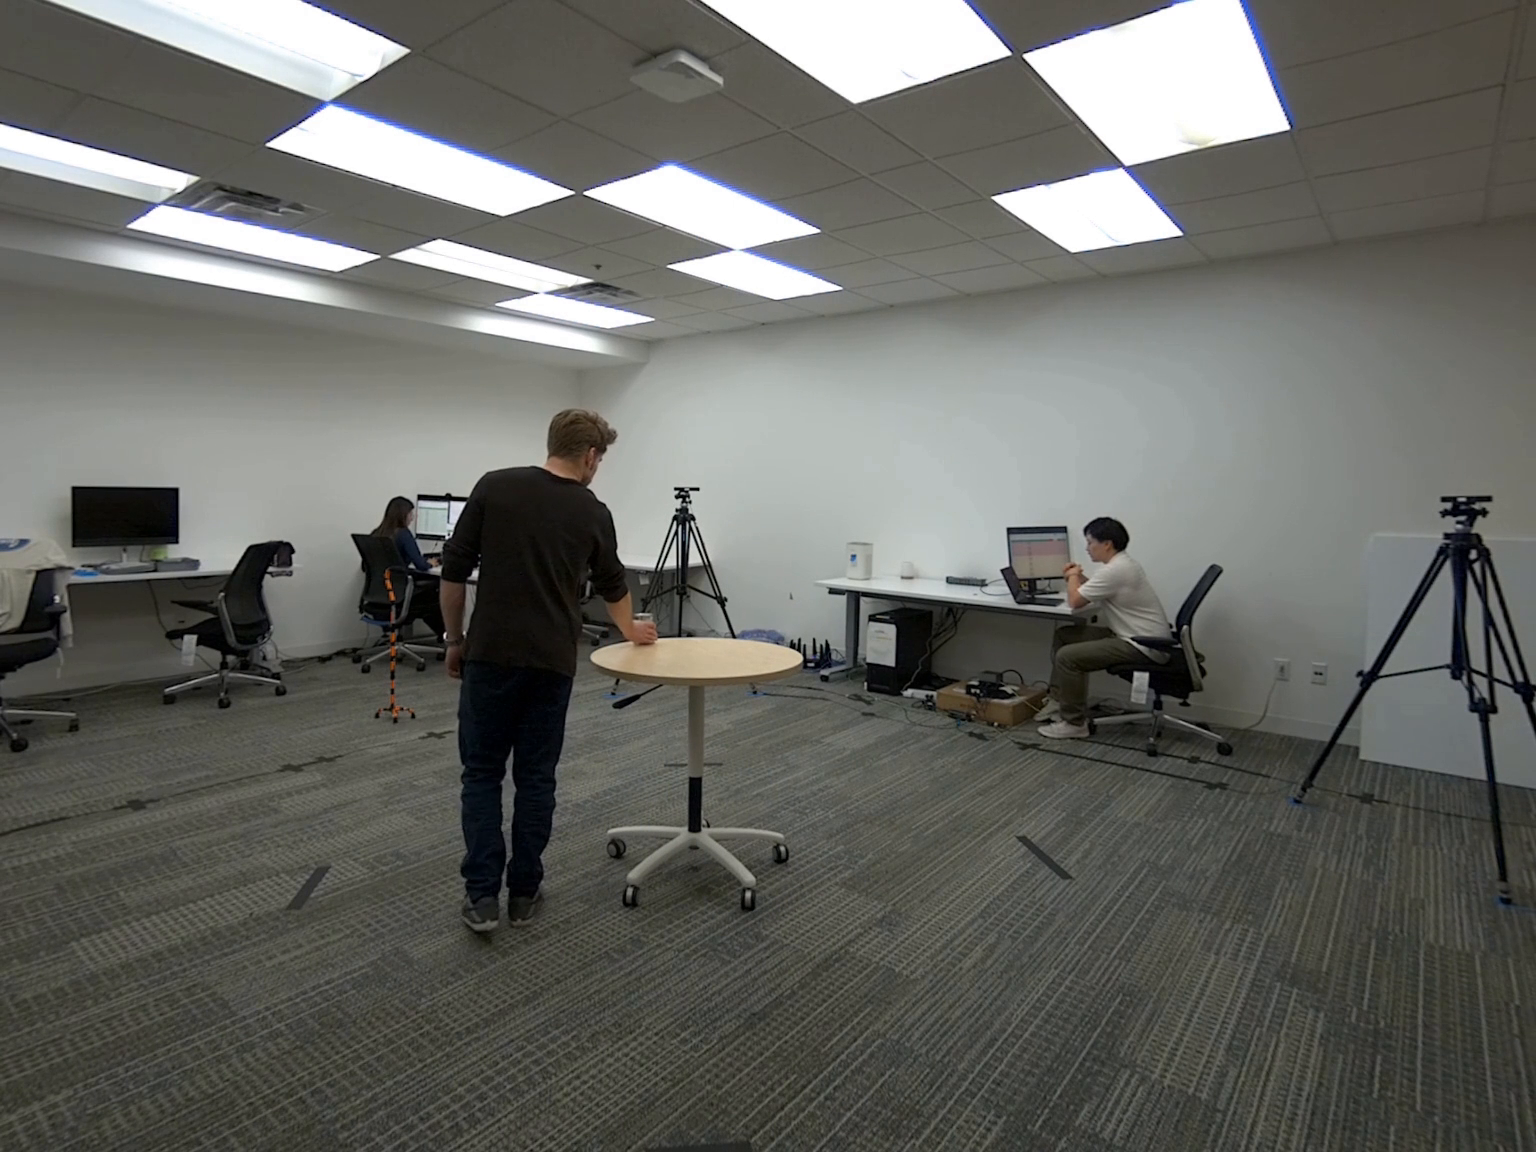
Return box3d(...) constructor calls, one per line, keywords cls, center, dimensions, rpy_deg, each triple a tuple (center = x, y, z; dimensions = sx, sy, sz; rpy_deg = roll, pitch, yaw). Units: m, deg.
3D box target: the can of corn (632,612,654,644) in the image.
box3d(cls="can of corn", center=(-0.495, 0.204, 3.316), dimensions=(0.074, 0.111, 0.074), rpy_deg=(1, 2, -2))
